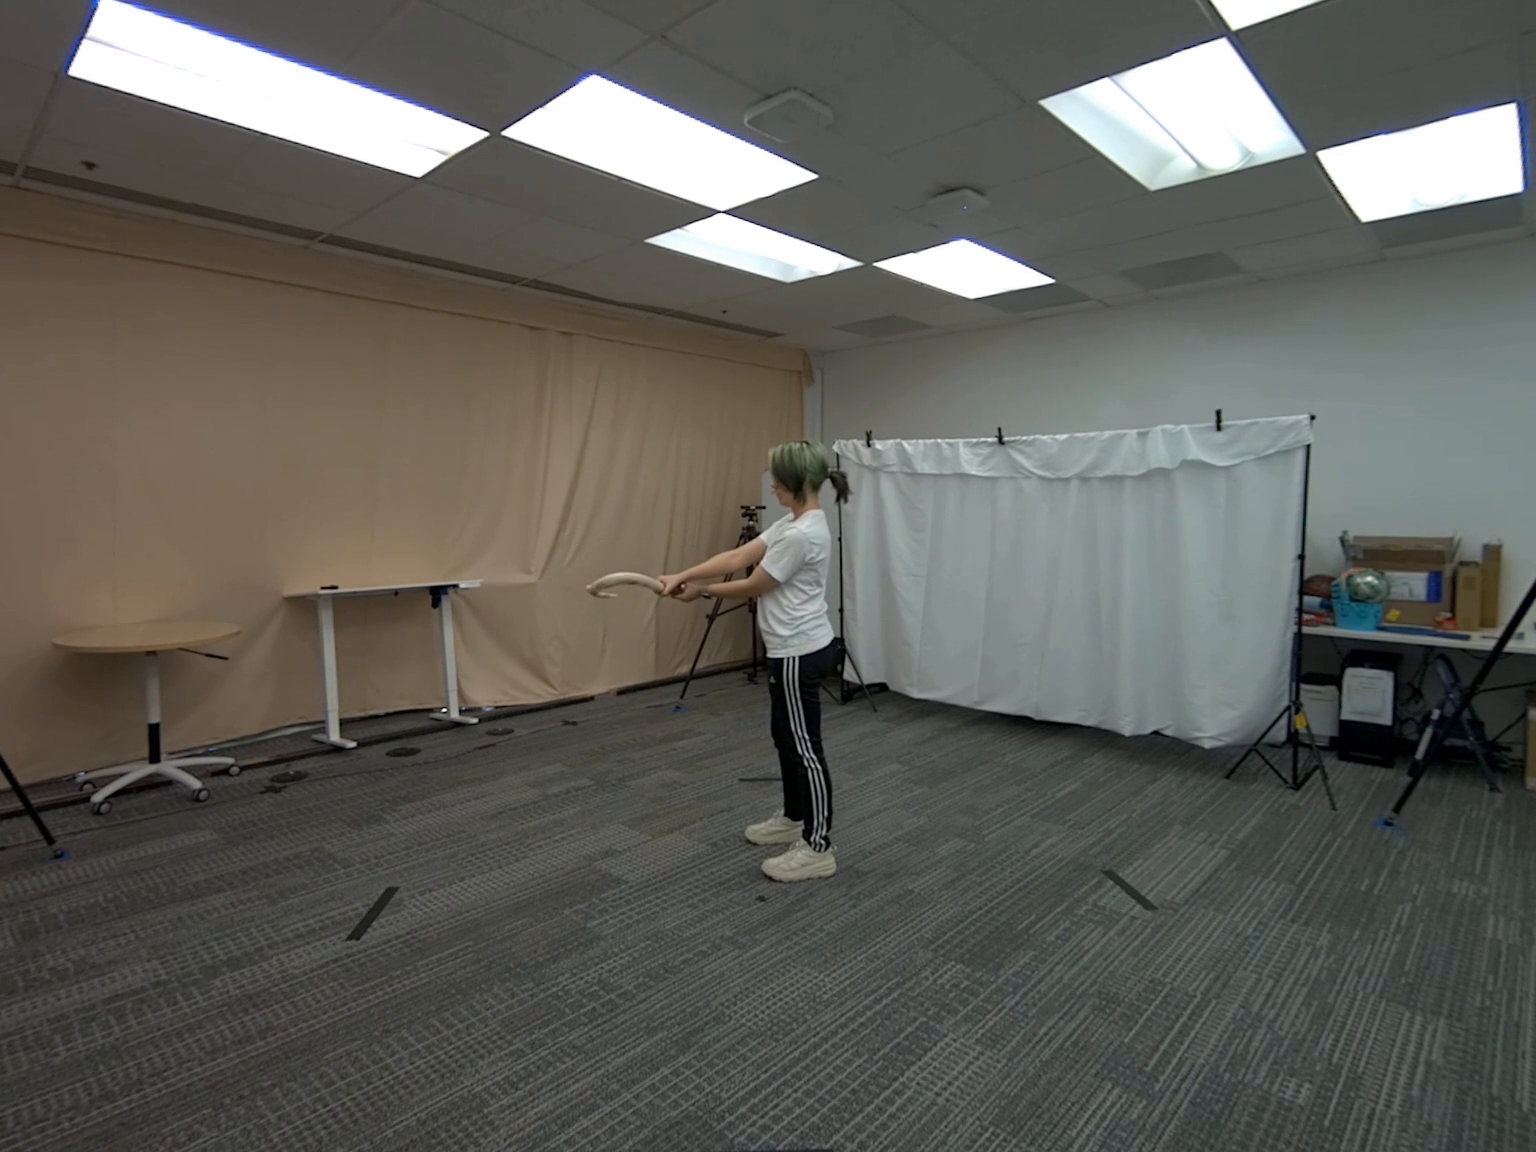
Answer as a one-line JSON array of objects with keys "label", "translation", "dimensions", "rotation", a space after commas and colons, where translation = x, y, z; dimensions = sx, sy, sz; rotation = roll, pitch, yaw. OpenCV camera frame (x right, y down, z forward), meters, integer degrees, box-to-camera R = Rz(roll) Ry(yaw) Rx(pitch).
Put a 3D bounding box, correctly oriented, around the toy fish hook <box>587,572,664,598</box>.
[{"label": "toy fish hook", "translation": [-0.475, 0.055, 3.216], "dimensions": [0.229, 0.049, 0.489], "rotation": [-19, -18, 31]}]
